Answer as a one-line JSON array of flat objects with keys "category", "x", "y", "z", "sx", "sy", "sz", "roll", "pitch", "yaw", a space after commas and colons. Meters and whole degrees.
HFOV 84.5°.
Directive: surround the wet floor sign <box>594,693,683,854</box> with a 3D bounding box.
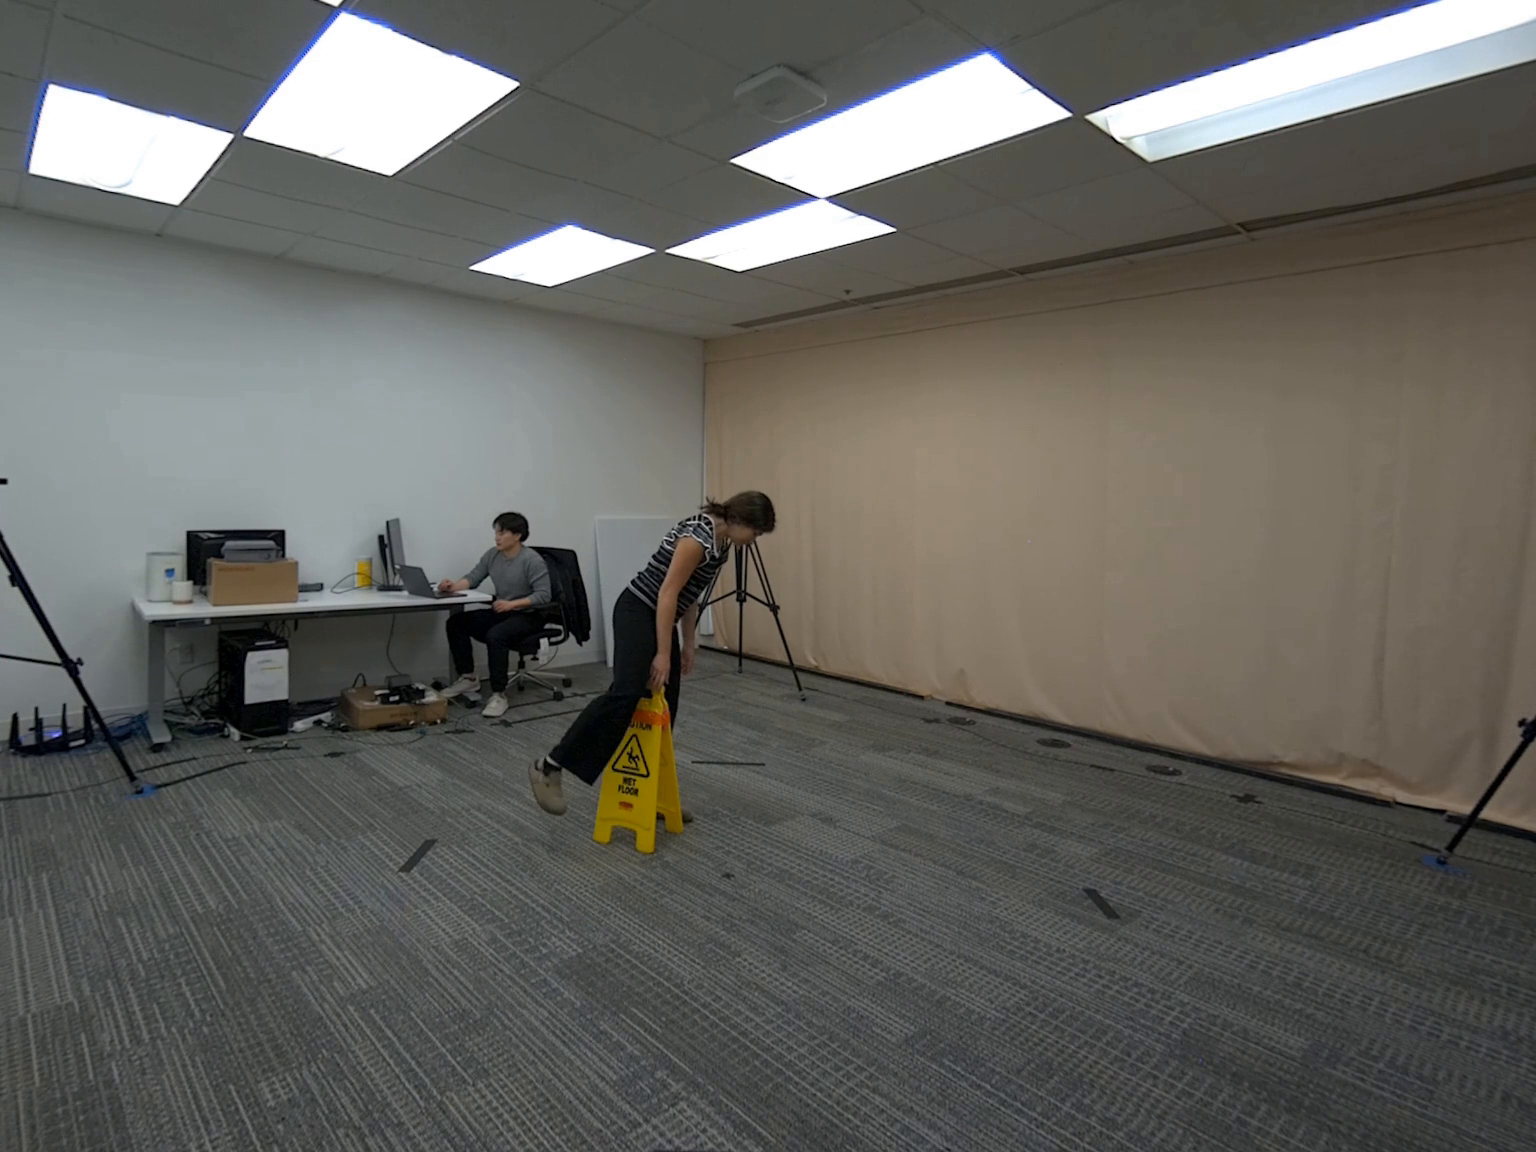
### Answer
[{"category": "wet floor sign", "x": -0.530, "y": 0.746, "z": 3.441, "sx": 0.288, "sy": 0.645, "sz": 0.285, "roll": 4, "pitch": 3, "yaw": 24}]
